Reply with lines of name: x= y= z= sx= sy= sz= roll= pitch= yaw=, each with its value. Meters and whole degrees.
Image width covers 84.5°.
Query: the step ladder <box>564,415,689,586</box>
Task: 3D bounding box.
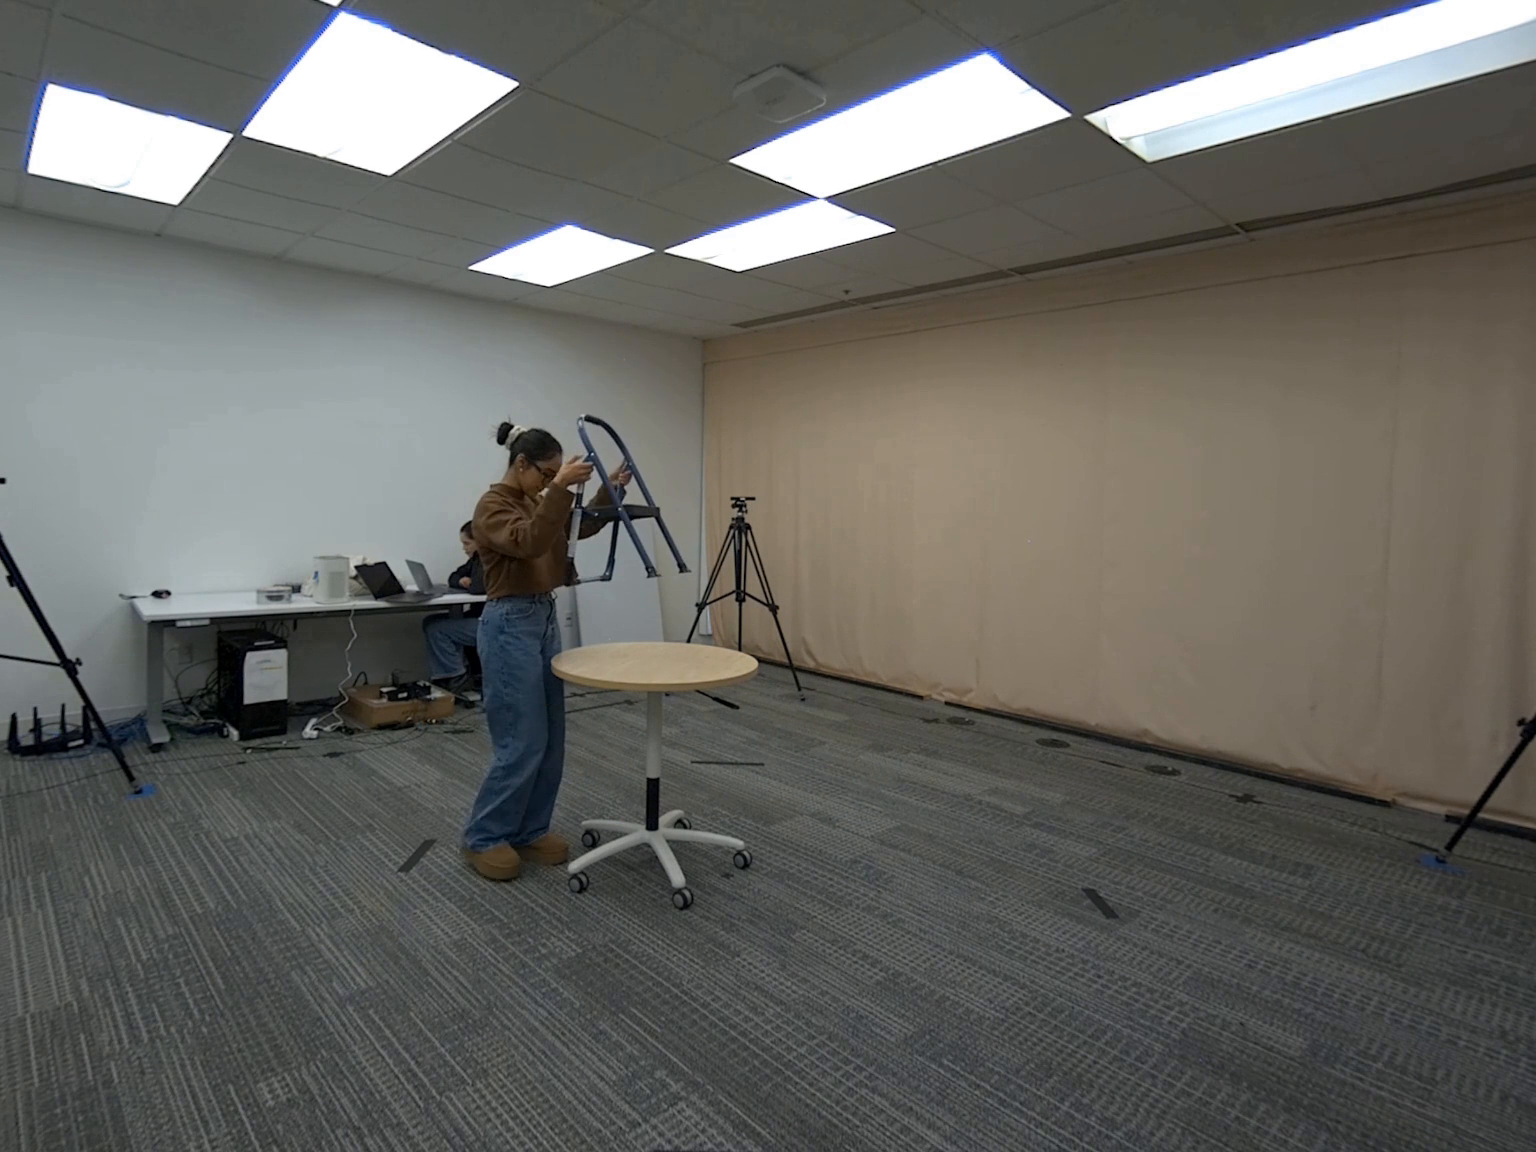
step ladder: x=-0.553 y=-0.291 z=3.057 sx=0.352 sy=0.607 sz=0.426 roll=-6 pitch=-2 yaw=10
